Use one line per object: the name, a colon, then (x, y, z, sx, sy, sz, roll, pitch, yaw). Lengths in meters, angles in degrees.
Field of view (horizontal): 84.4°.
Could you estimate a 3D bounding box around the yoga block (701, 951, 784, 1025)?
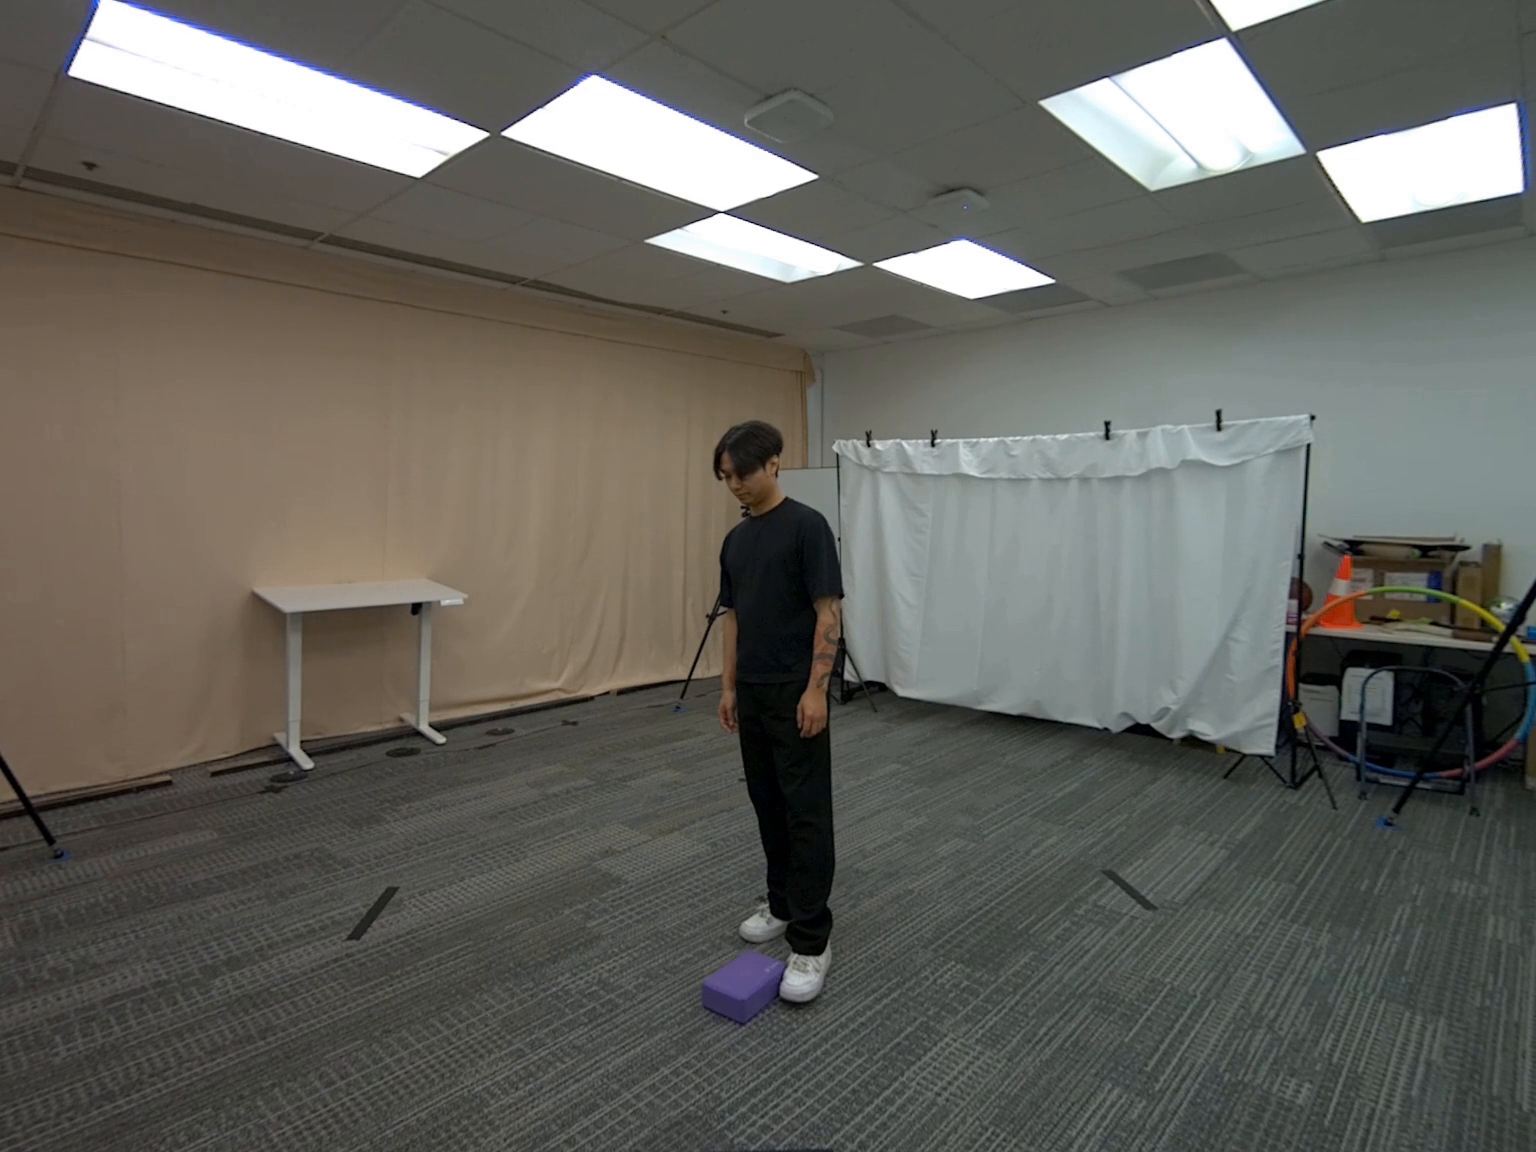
yoga block: (-0.059, 1.153, 2.386, 0.154, 0.076, 0.223, 3, 6, 34)
